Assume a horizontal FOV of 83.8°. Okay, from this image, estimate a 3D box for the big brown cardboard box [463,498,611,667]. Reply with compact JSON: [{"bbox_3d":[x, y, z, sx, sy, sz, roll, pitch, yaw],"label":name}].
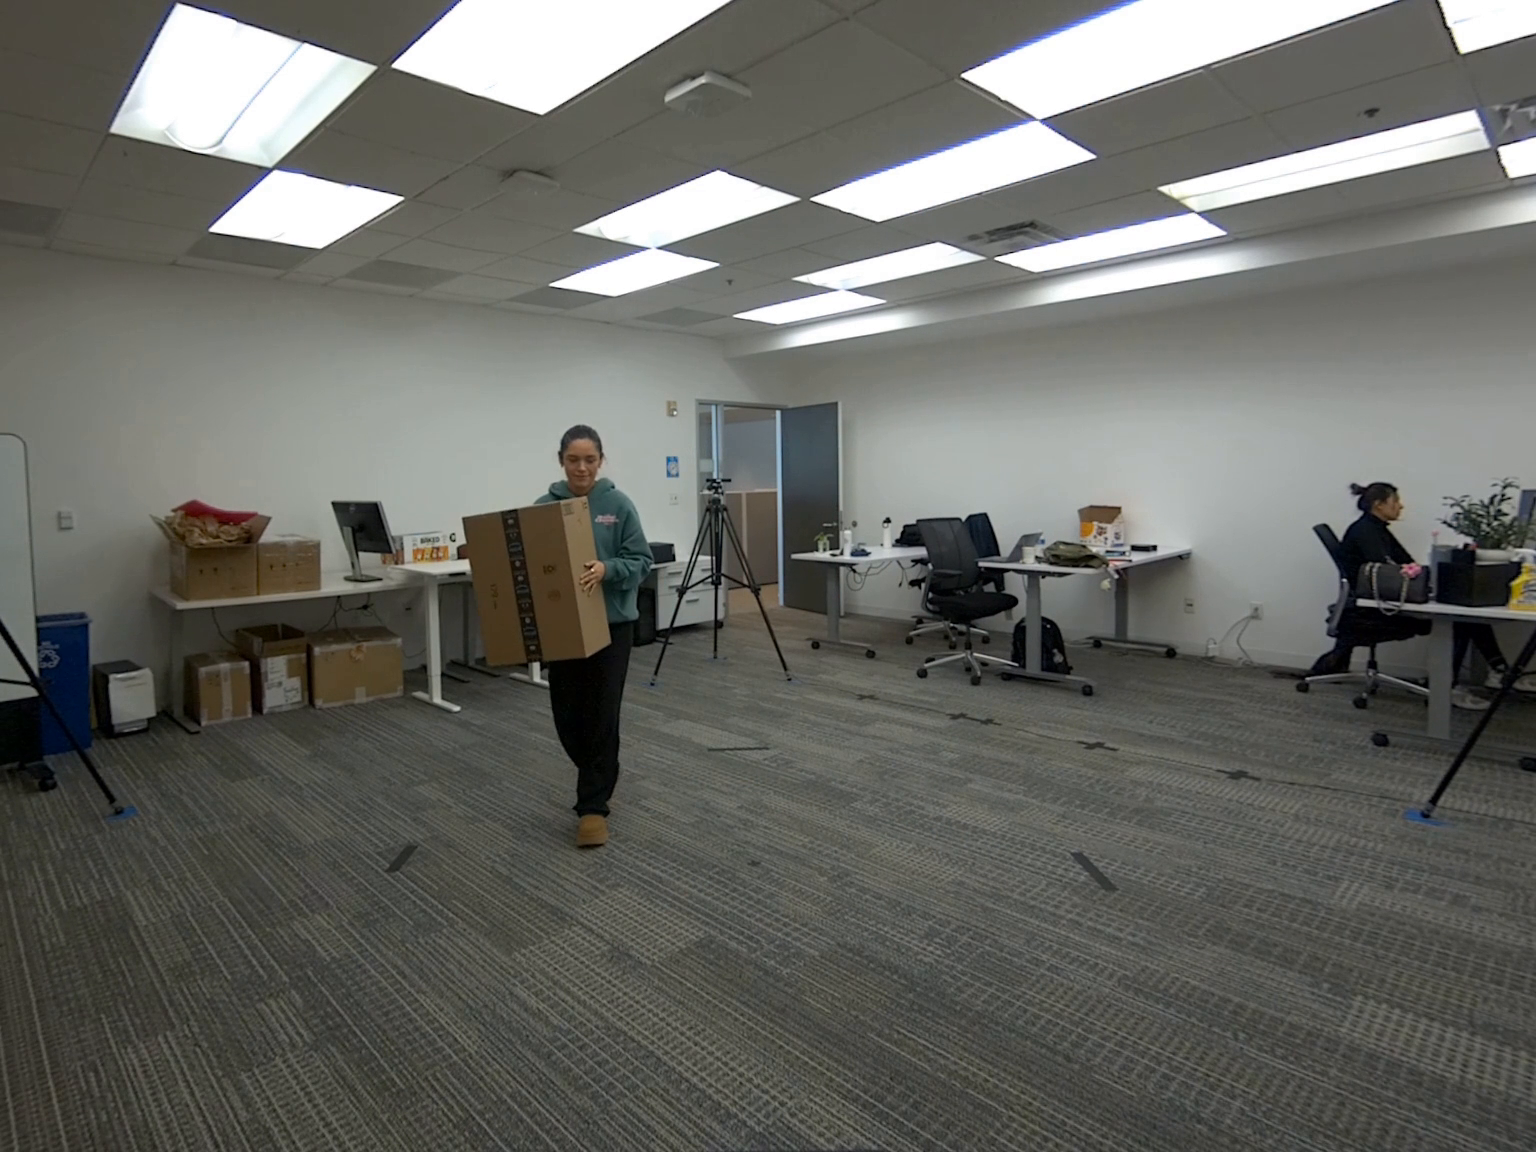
[{"bbox_3d":[-0.860,0.026,3.188,0.424,0.585,0.231,-6,6,18],"label":"big brown cardboard box"}]
